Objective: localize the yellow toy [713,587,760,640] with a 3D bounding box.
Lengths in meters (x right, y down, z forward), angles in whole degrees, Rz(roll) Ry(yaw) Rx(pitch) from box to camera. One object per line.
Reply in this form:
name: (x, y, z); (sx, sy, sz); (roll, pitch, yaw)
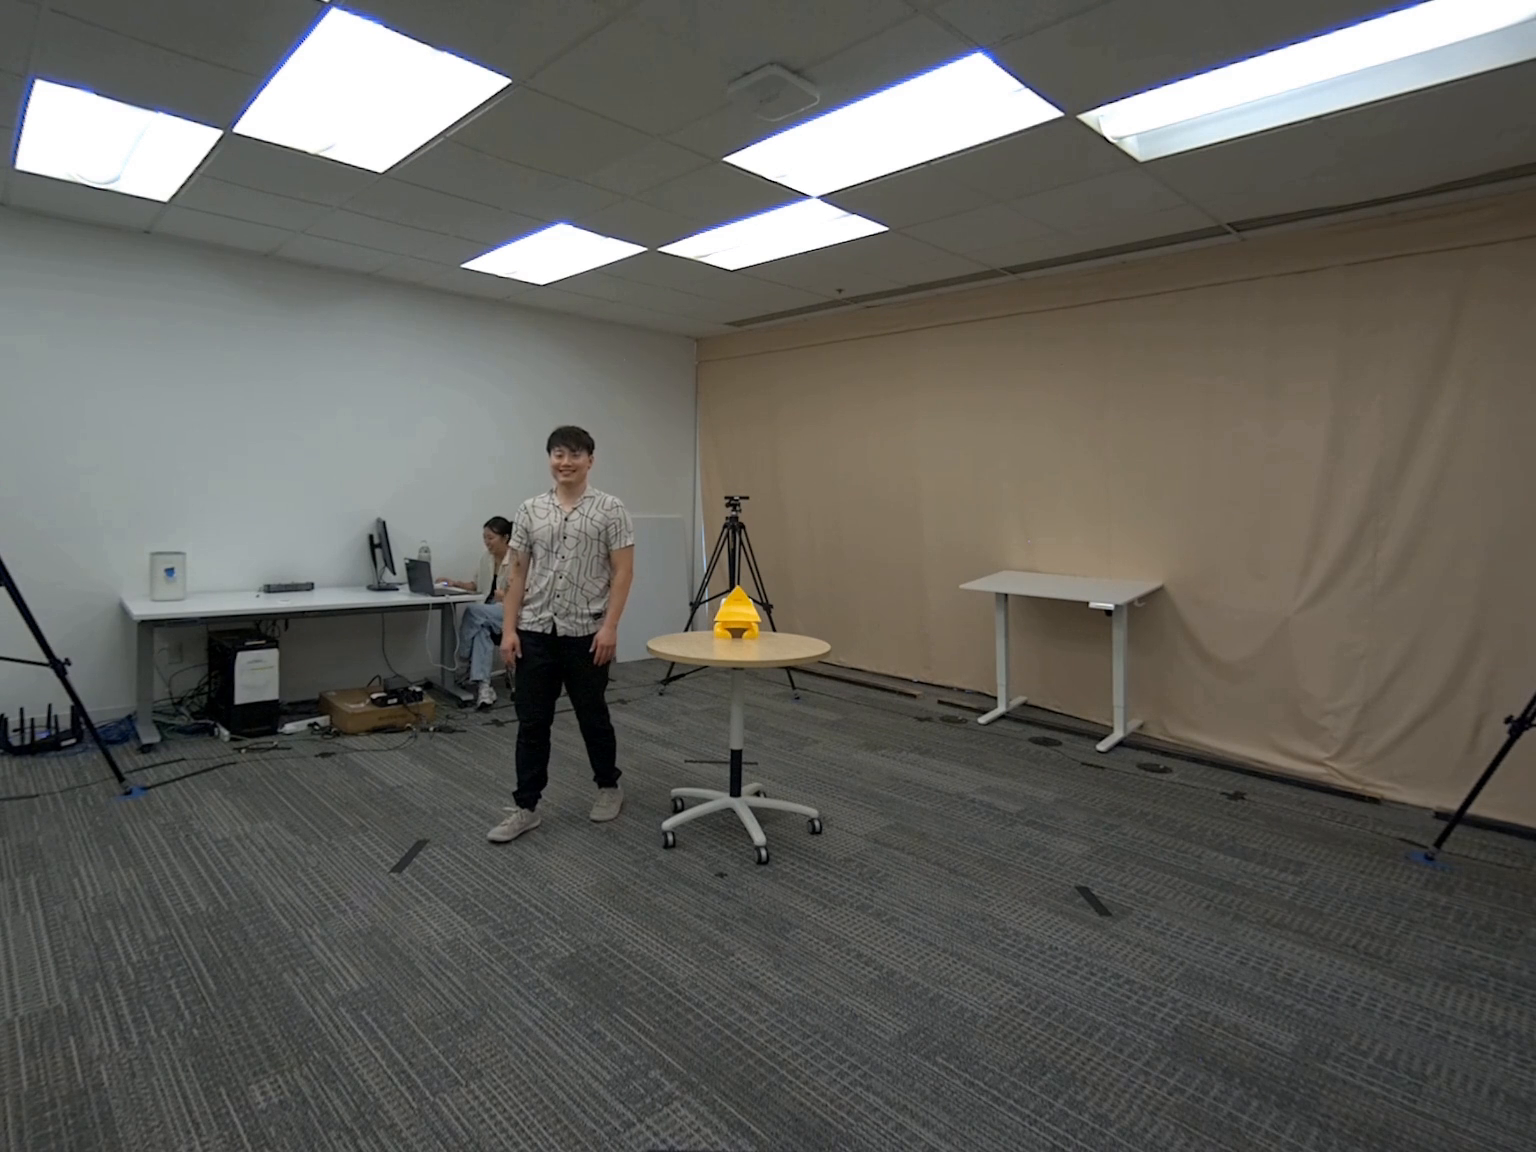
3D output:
yellow toy: (-0.148, 0.149, 3.736); (0.204, 0.230, 0.194); (1, 4, -4)
